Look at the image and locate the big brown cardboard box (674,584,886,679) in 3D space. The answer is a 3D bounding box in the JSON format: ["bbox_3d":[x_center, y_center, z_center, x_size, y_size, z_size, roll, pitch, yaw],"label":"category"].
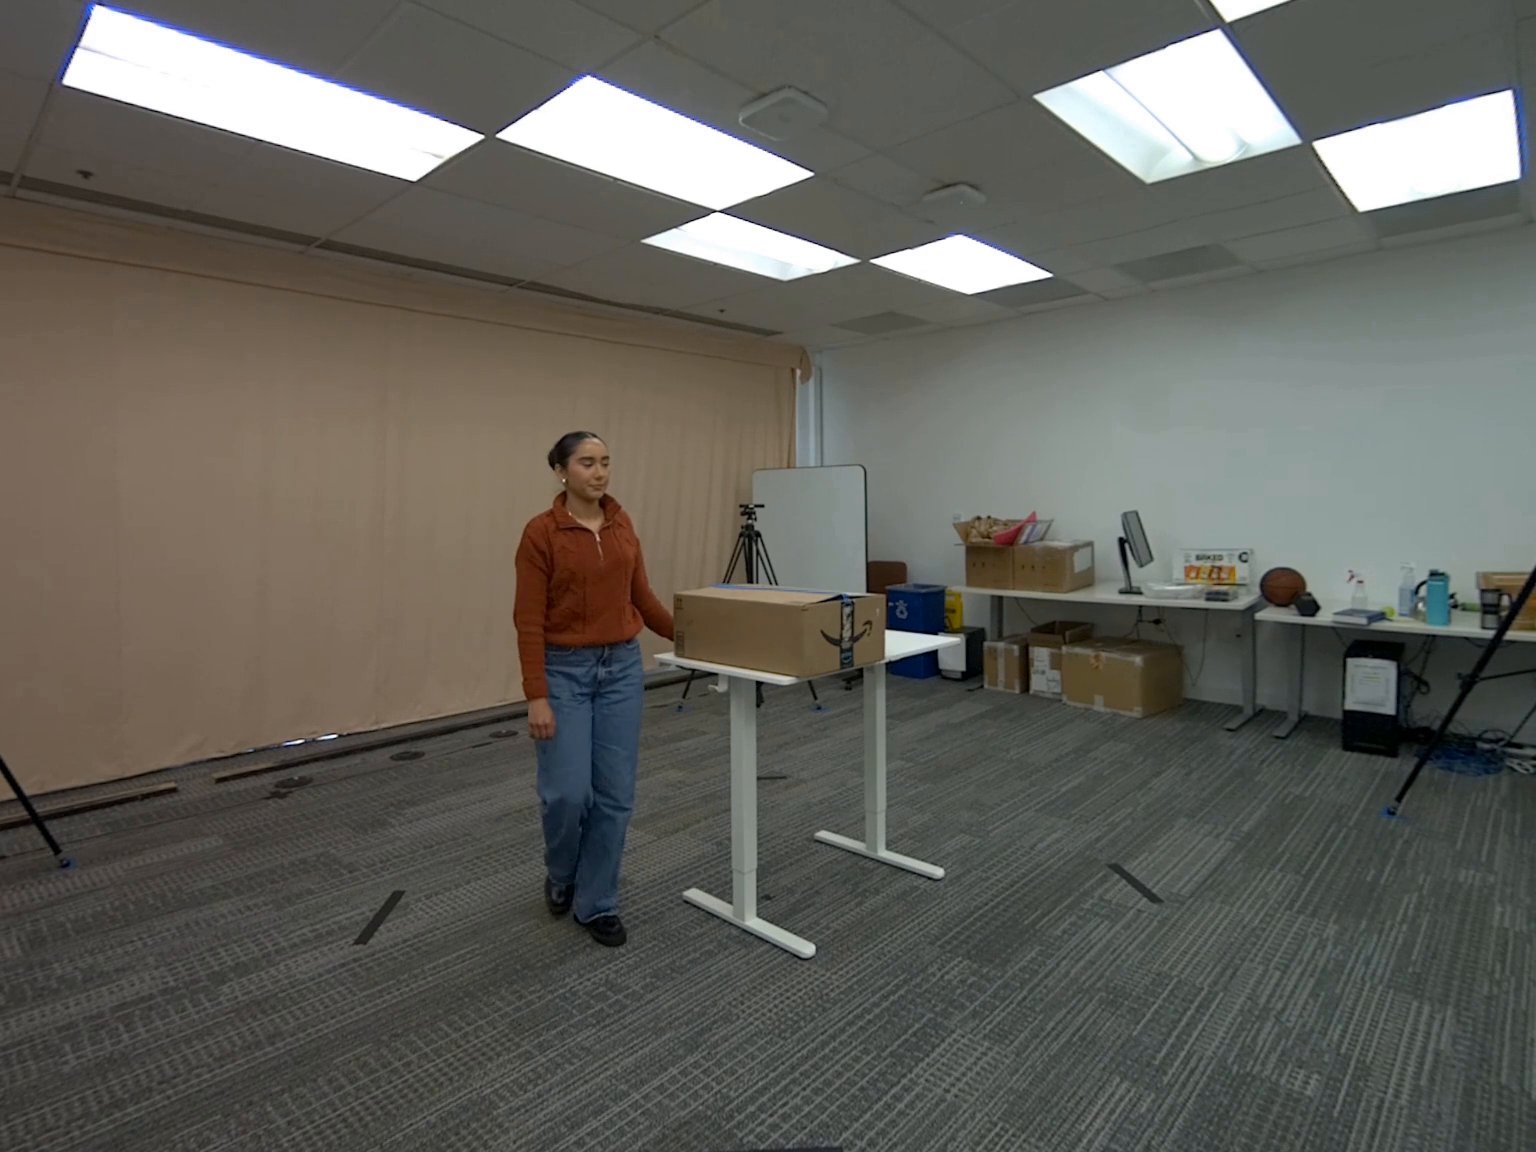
[{"bbox_3d":[0.036,0.166,2.777,0.608,0.233,0.405,3,5,44],"label":"big brown cardboard box"}]
